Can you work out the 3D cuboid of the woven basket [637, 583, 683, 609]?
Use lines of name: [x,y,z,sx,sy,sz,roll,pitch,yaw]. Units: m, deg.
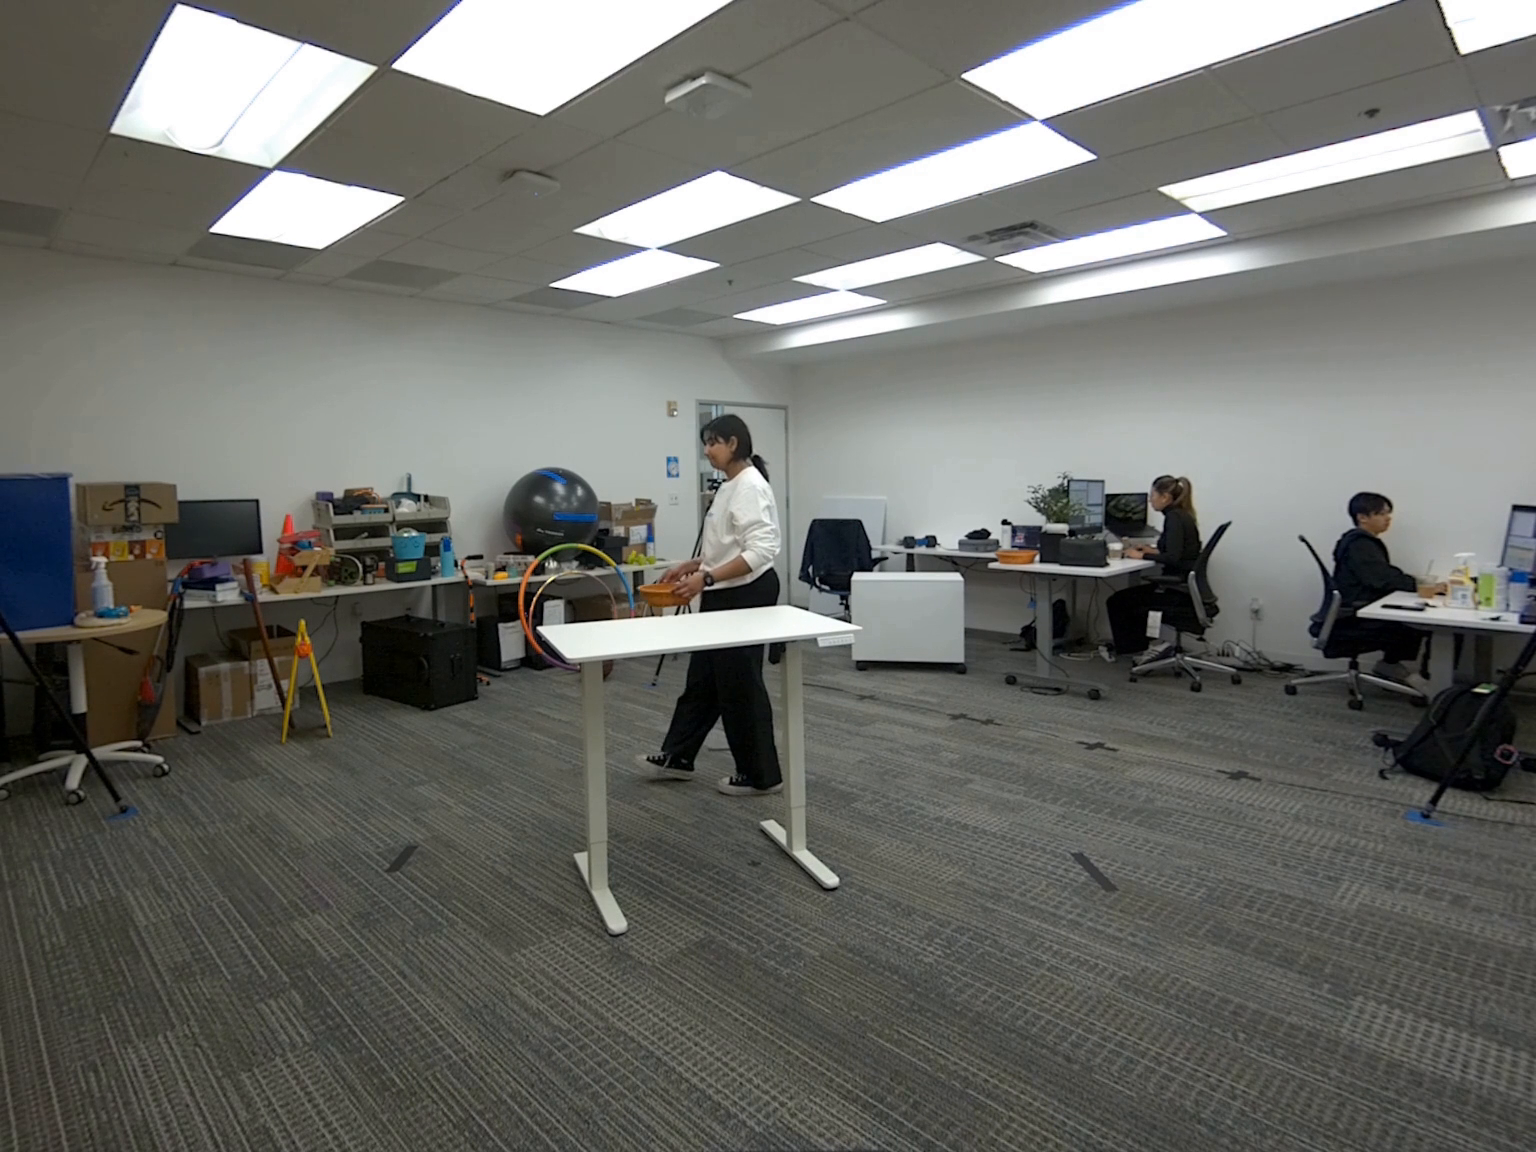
woven basket: [-0.430,0.086,3.748,0.248,0.073,0.358,-3,4,-22]
